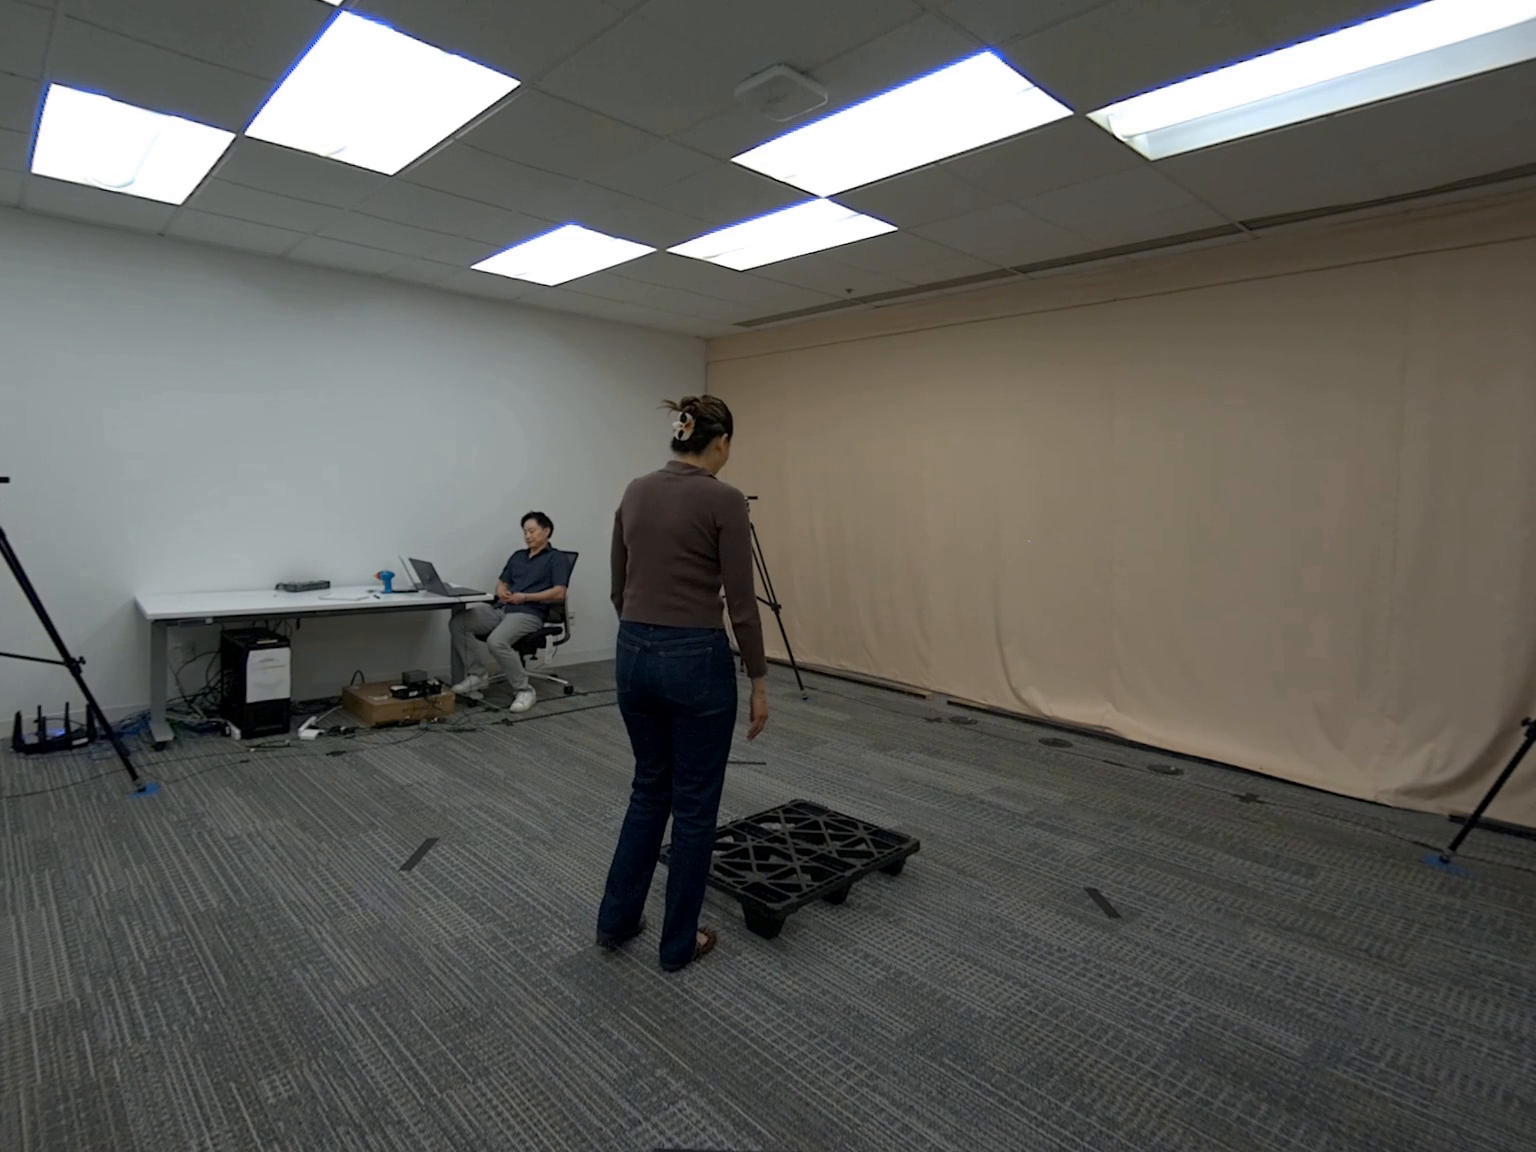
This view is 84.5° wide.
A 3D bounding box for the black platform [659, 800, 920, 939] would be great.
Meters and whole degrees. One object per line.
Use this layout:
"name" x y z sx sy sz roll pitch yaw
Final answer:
"black platform" 0.070 1.045 3.063 0.620 0.143 0.787 5 6 44
